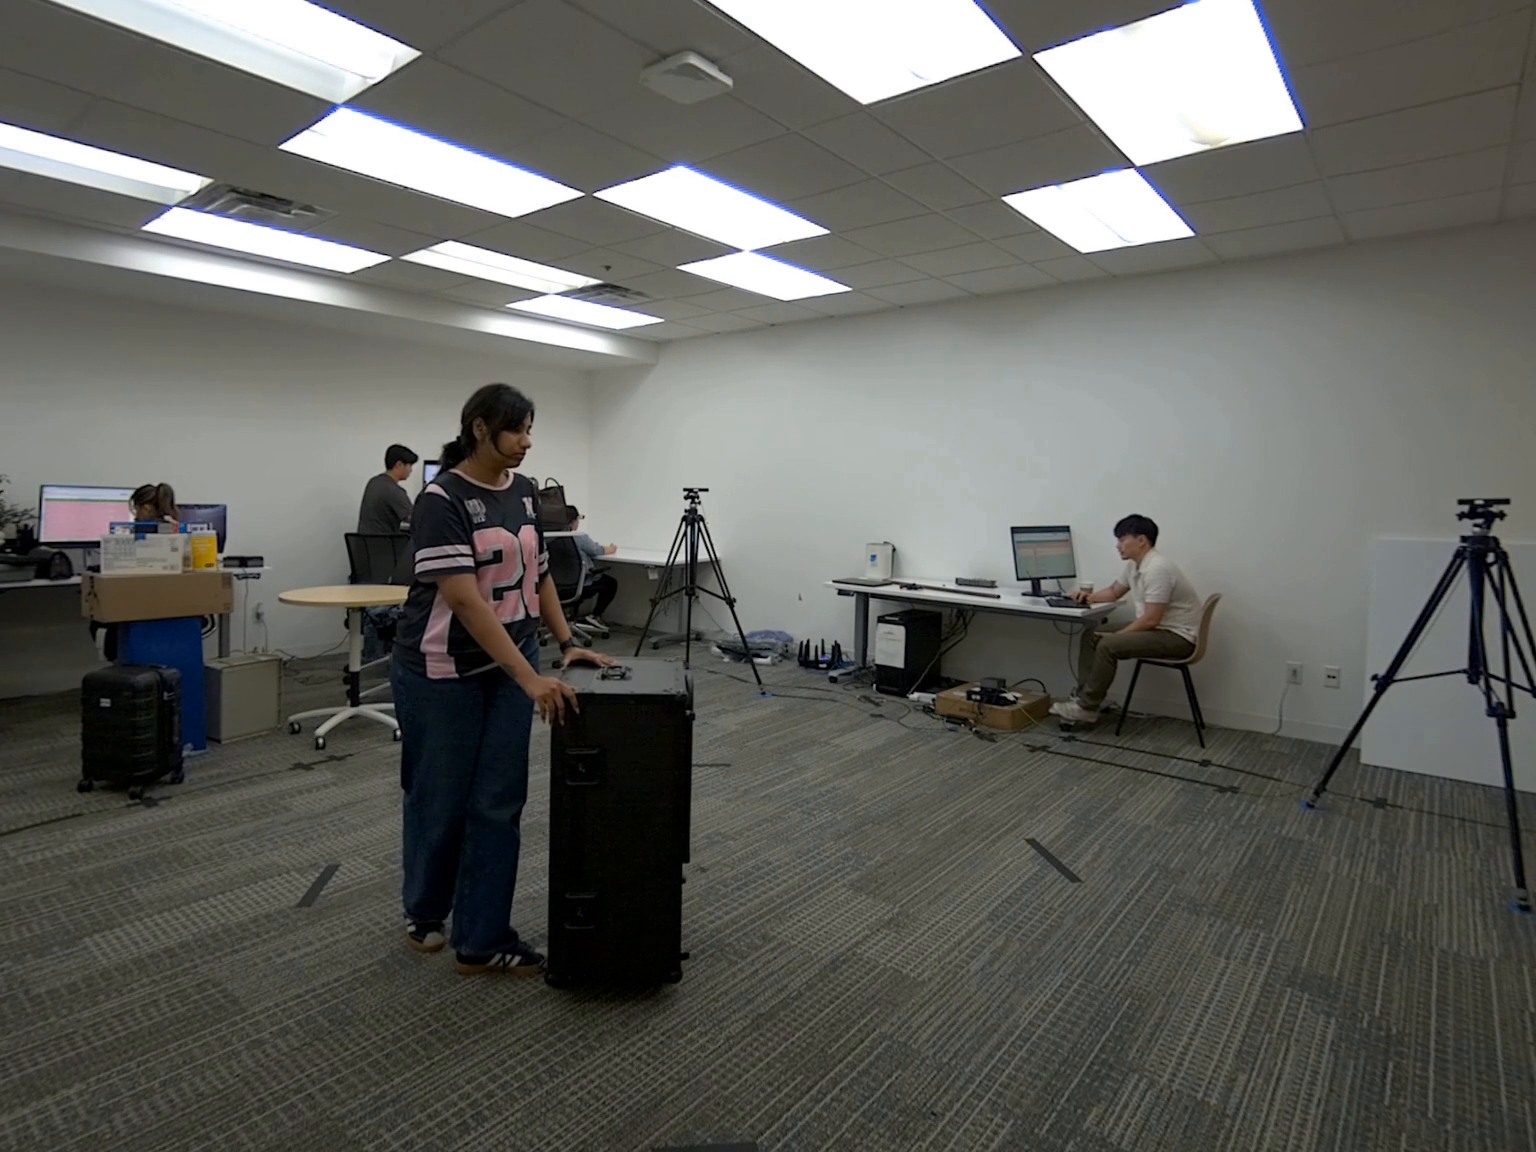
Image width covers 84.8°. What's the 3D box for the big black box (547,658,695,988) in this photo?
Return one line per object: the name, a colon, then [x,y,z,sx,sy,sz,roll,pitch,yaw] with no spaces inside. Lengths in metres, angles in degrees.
big black box: [-0.437,0.703,2.476,0.383,0.866,0.528,1,4,-7]
